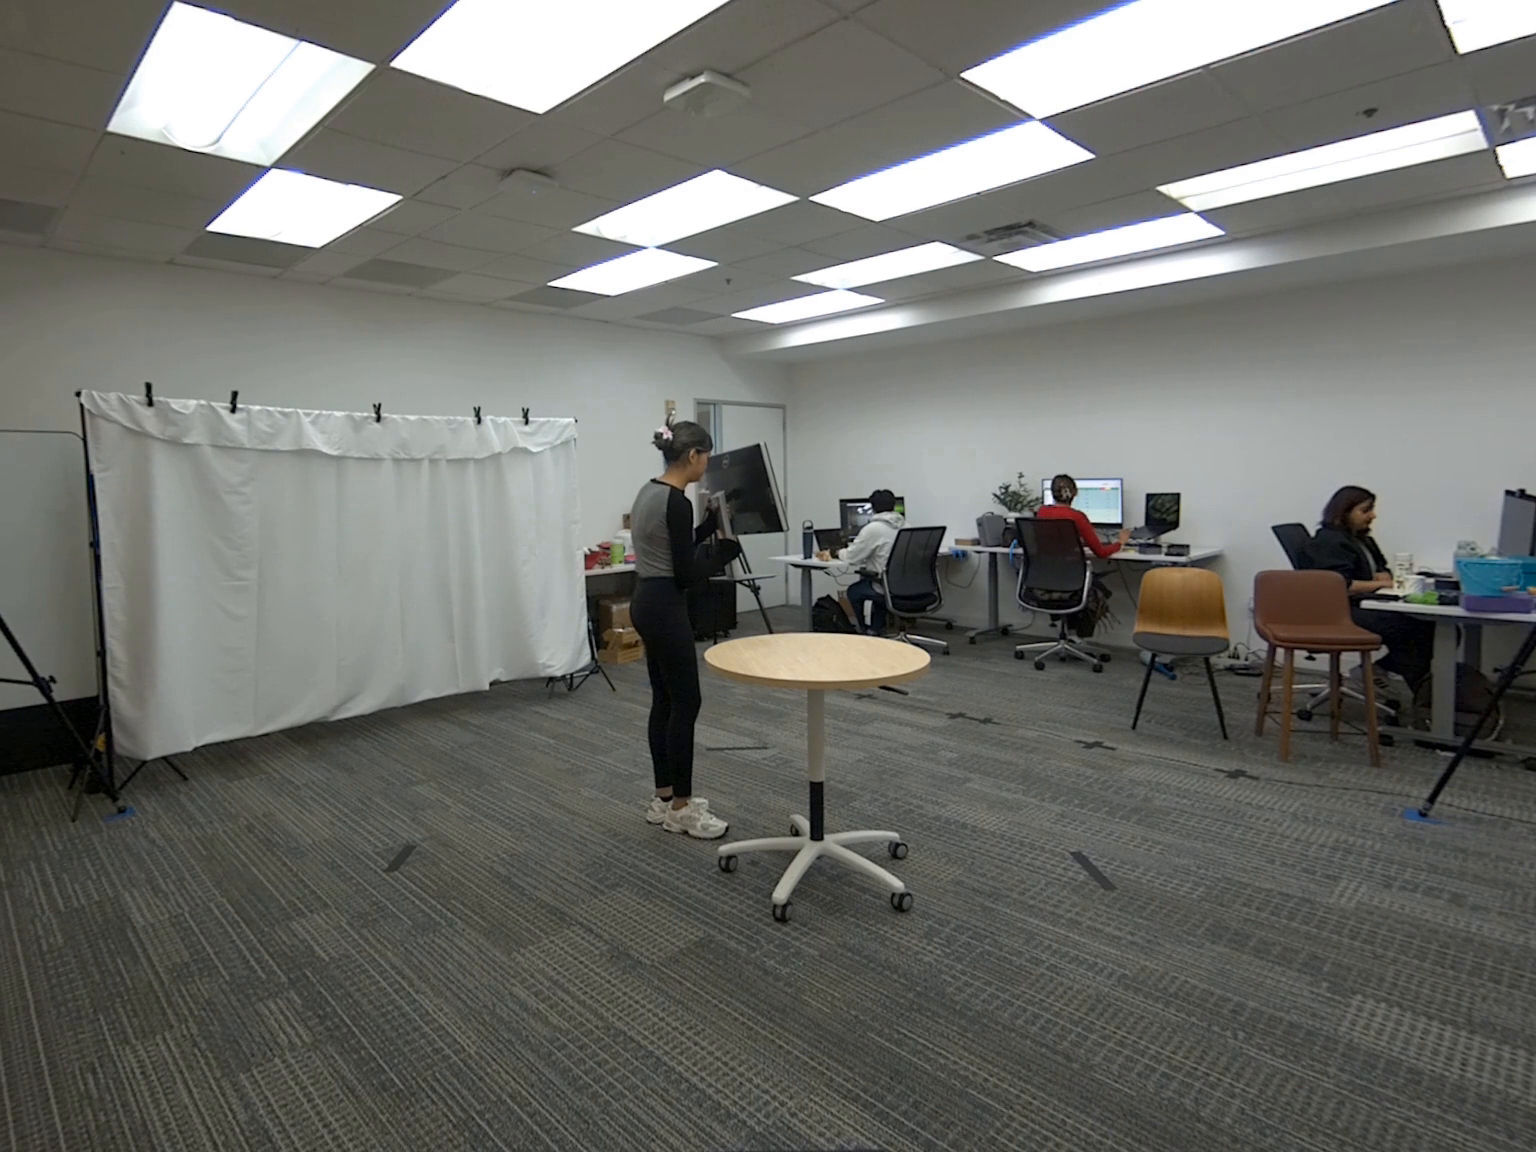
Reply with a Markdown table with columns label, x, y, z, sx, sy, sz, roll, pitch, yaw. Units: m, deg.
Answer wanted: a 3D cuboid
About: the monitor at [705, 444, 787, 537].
| label | x | y | z | sx | sy | sz | roll | pitch | yaw |
| --- | --- | --- | --- | --- | --- | --- | --- | --- | --- |
| monitor | -0.129 | -0.253 | 3.552 | 0.183 | 0.522 | 0.552 | -5 | 3 | -30 |
